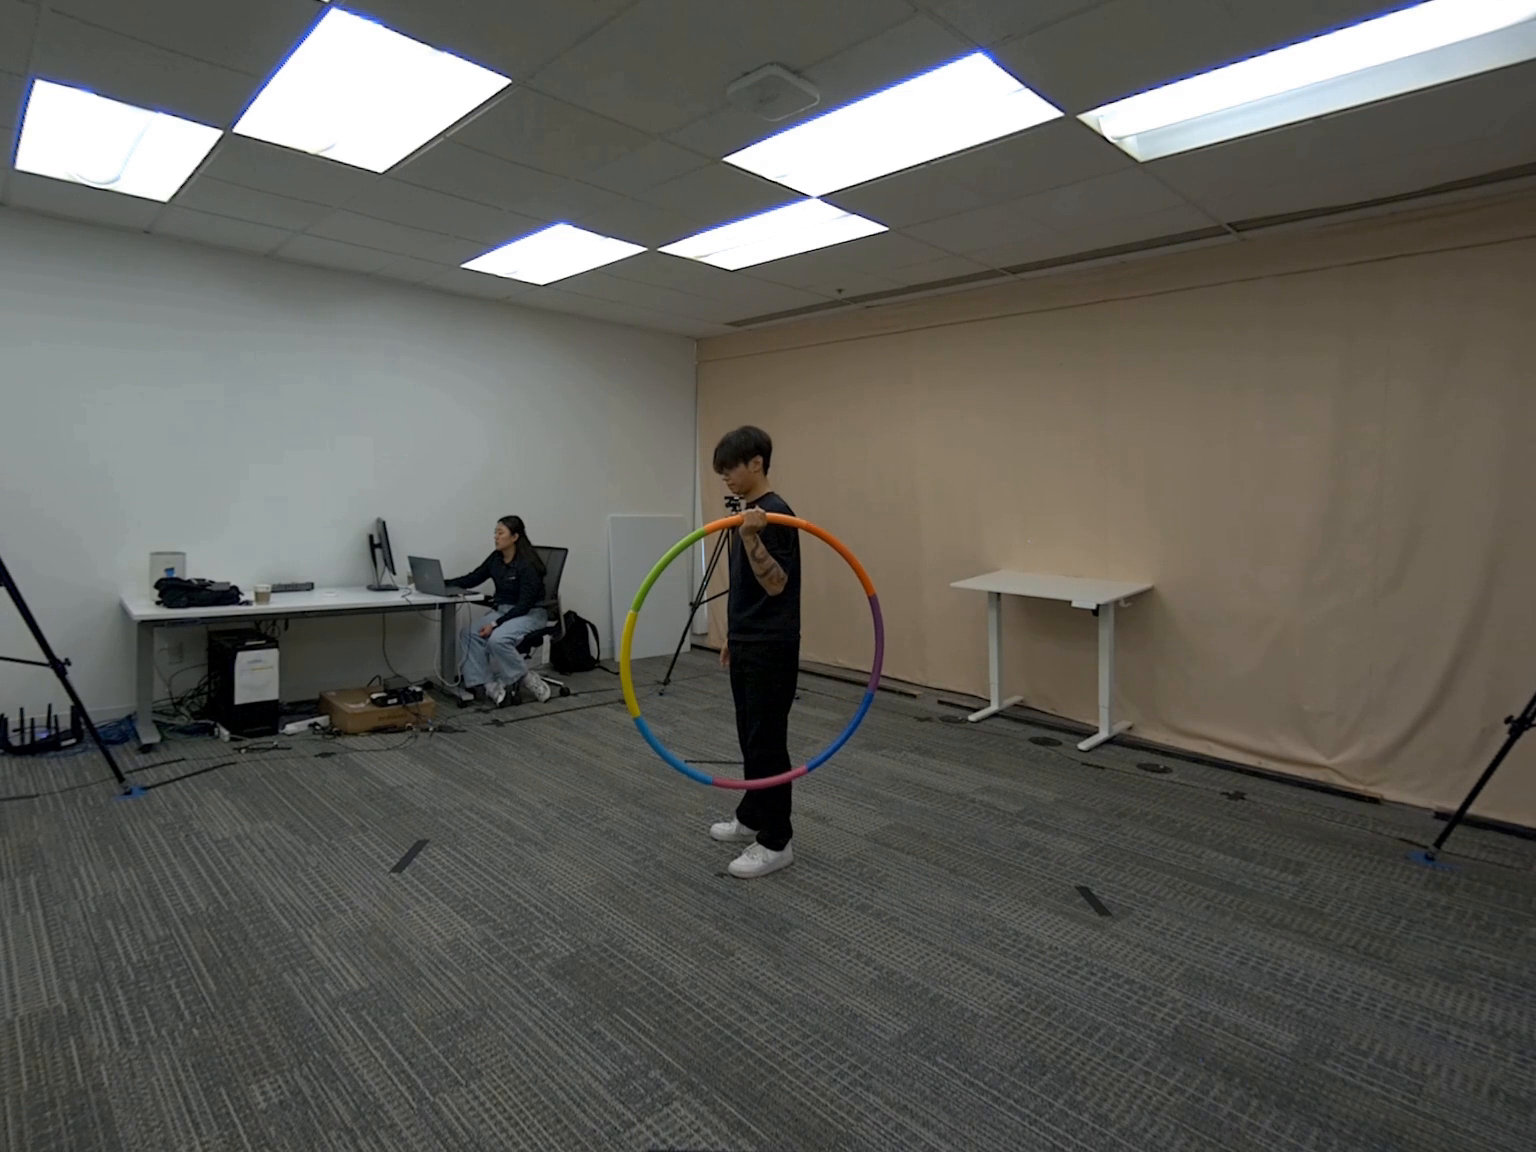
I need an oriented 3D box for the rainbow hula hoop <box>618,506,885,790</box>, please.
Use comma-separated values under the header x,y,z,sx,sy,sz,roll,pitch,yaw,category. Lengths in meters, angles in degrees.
x,y,z,sx,sy,sz,roll,pitch,yaw,category
-0.046,0.270,2.988,0.966,0.975,0.036,0,5,-16,rainbow hula hoop
